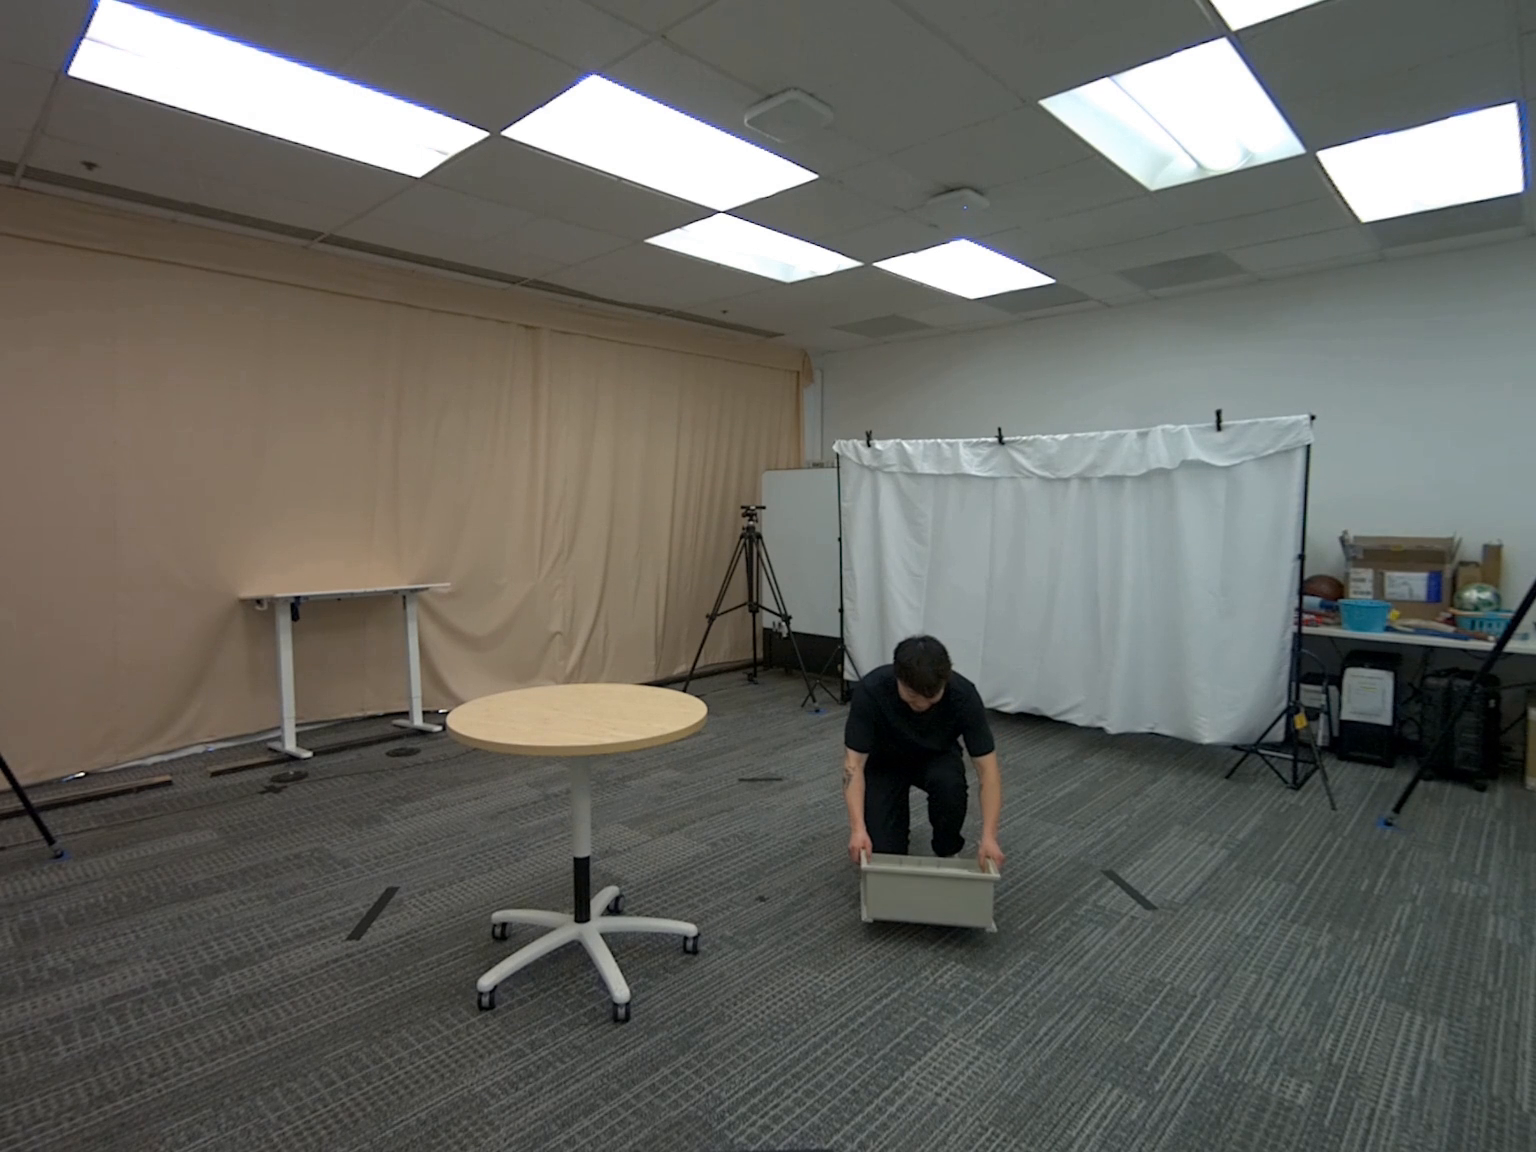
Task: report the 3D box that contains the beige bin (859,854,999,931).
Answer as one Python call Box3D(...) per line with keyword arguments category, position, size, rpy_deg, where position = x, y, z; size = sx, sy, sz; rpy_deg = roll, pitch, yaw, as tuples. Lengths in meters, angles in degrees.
Box3D(category="beige bin", position=(0.522, 0.997, 2.804), size=(0.426, 0.189, 0.375), rpy_deg=(2, 3, 6))
